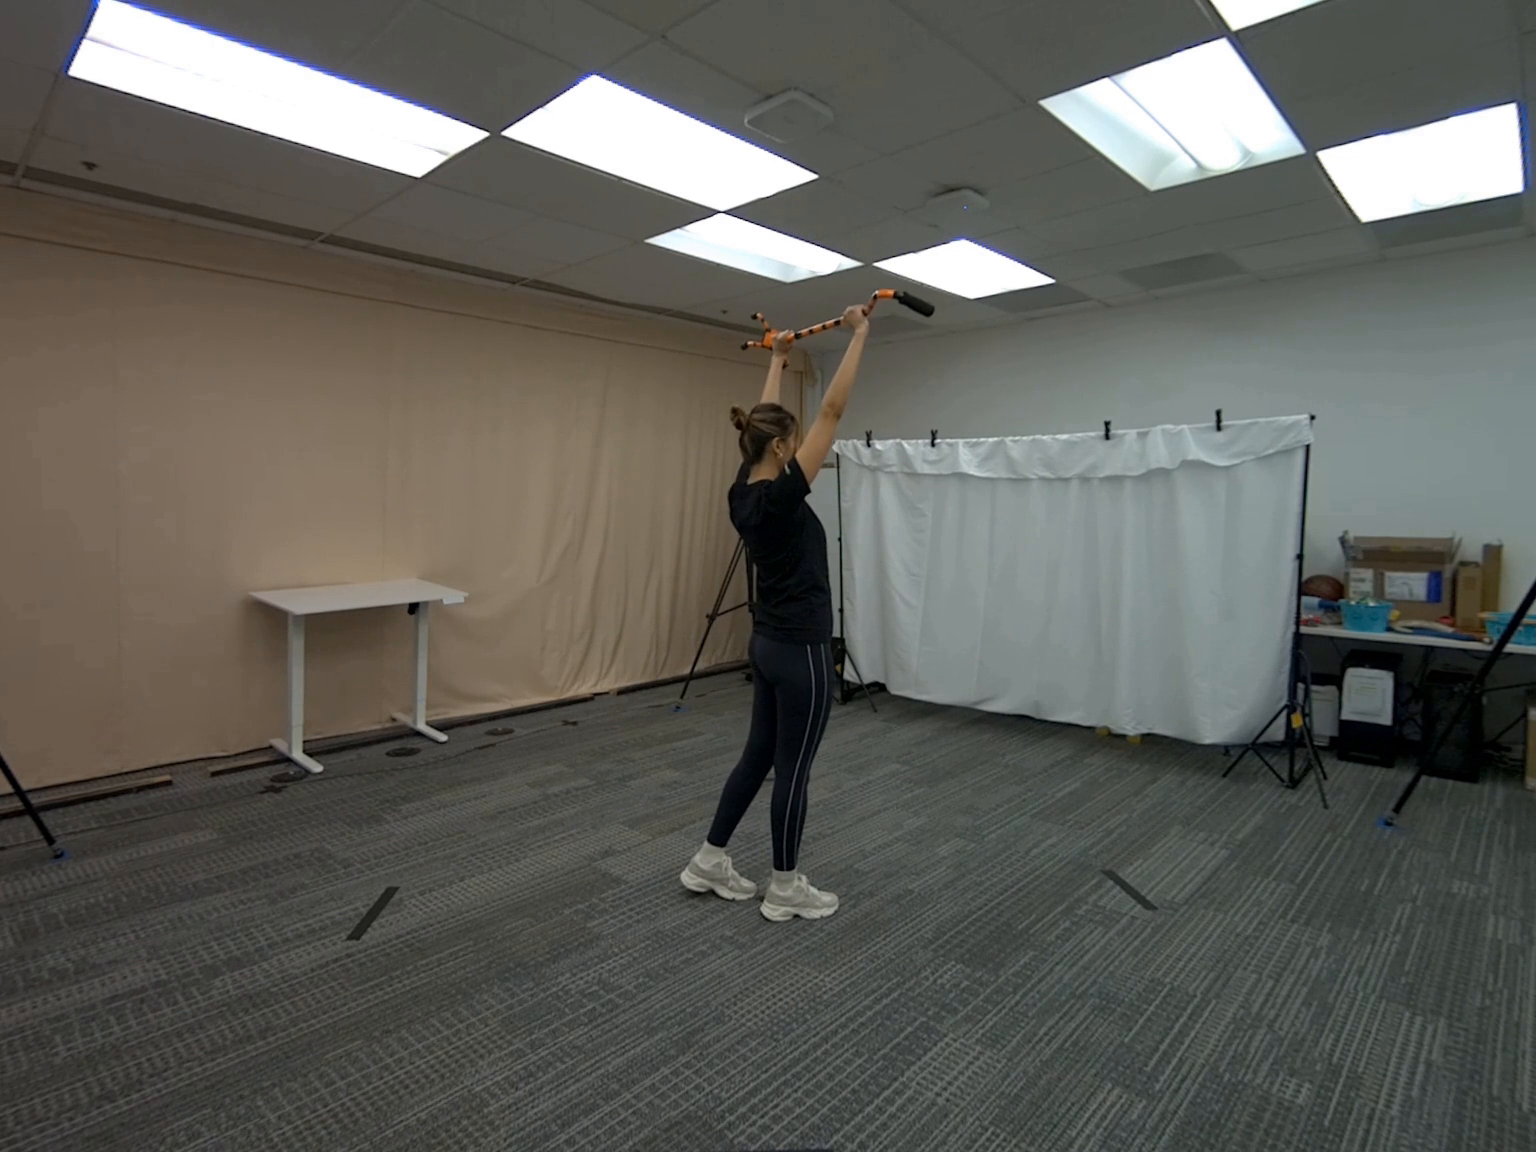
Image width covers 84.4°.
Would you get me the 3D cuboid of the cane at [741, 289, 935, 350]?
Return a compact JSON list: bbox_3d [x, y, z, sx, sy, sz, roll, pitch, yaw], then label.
[{"bbox_3d":[0.210,-0.846,2.802,0.201,0.152,0.933,22,-3,-27],"label":"cane"}]
